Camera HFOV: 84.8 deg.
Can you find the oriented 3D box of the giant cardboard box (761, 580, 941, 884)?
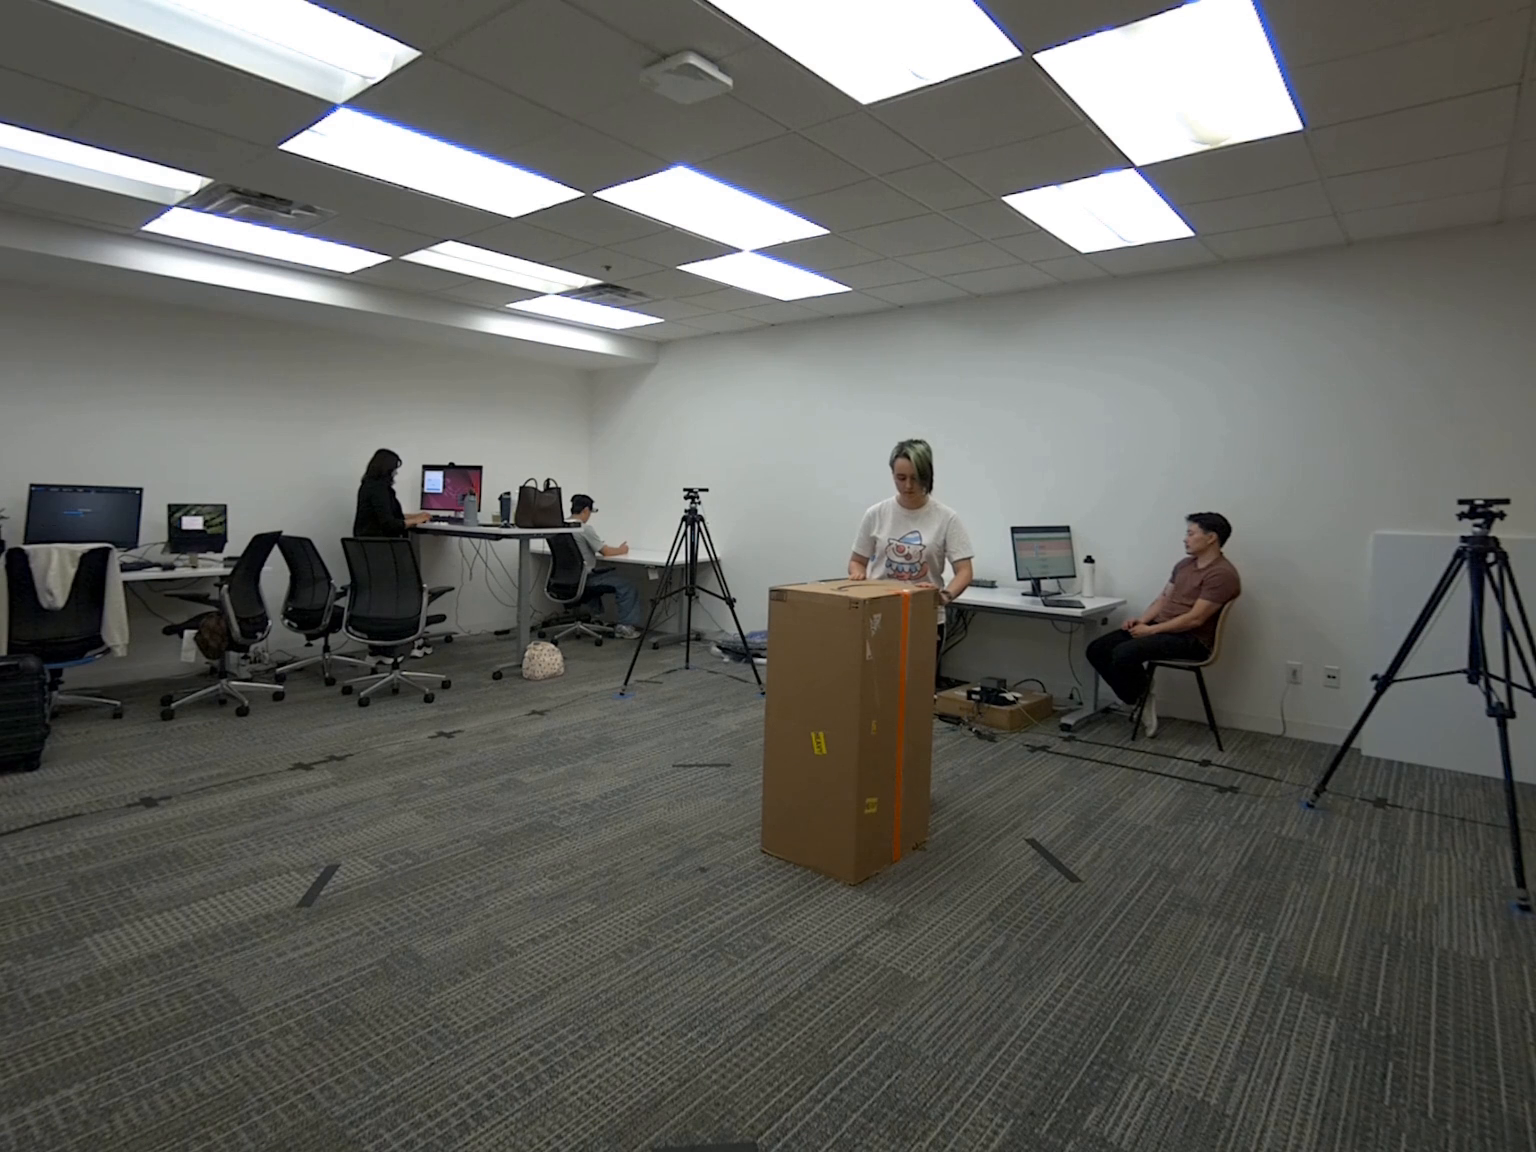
[{"bbox_3d":[0.319,0.552,3.323,0.461,1.025,0.566,3,4,38],"label":"giant cardboard box"}]
